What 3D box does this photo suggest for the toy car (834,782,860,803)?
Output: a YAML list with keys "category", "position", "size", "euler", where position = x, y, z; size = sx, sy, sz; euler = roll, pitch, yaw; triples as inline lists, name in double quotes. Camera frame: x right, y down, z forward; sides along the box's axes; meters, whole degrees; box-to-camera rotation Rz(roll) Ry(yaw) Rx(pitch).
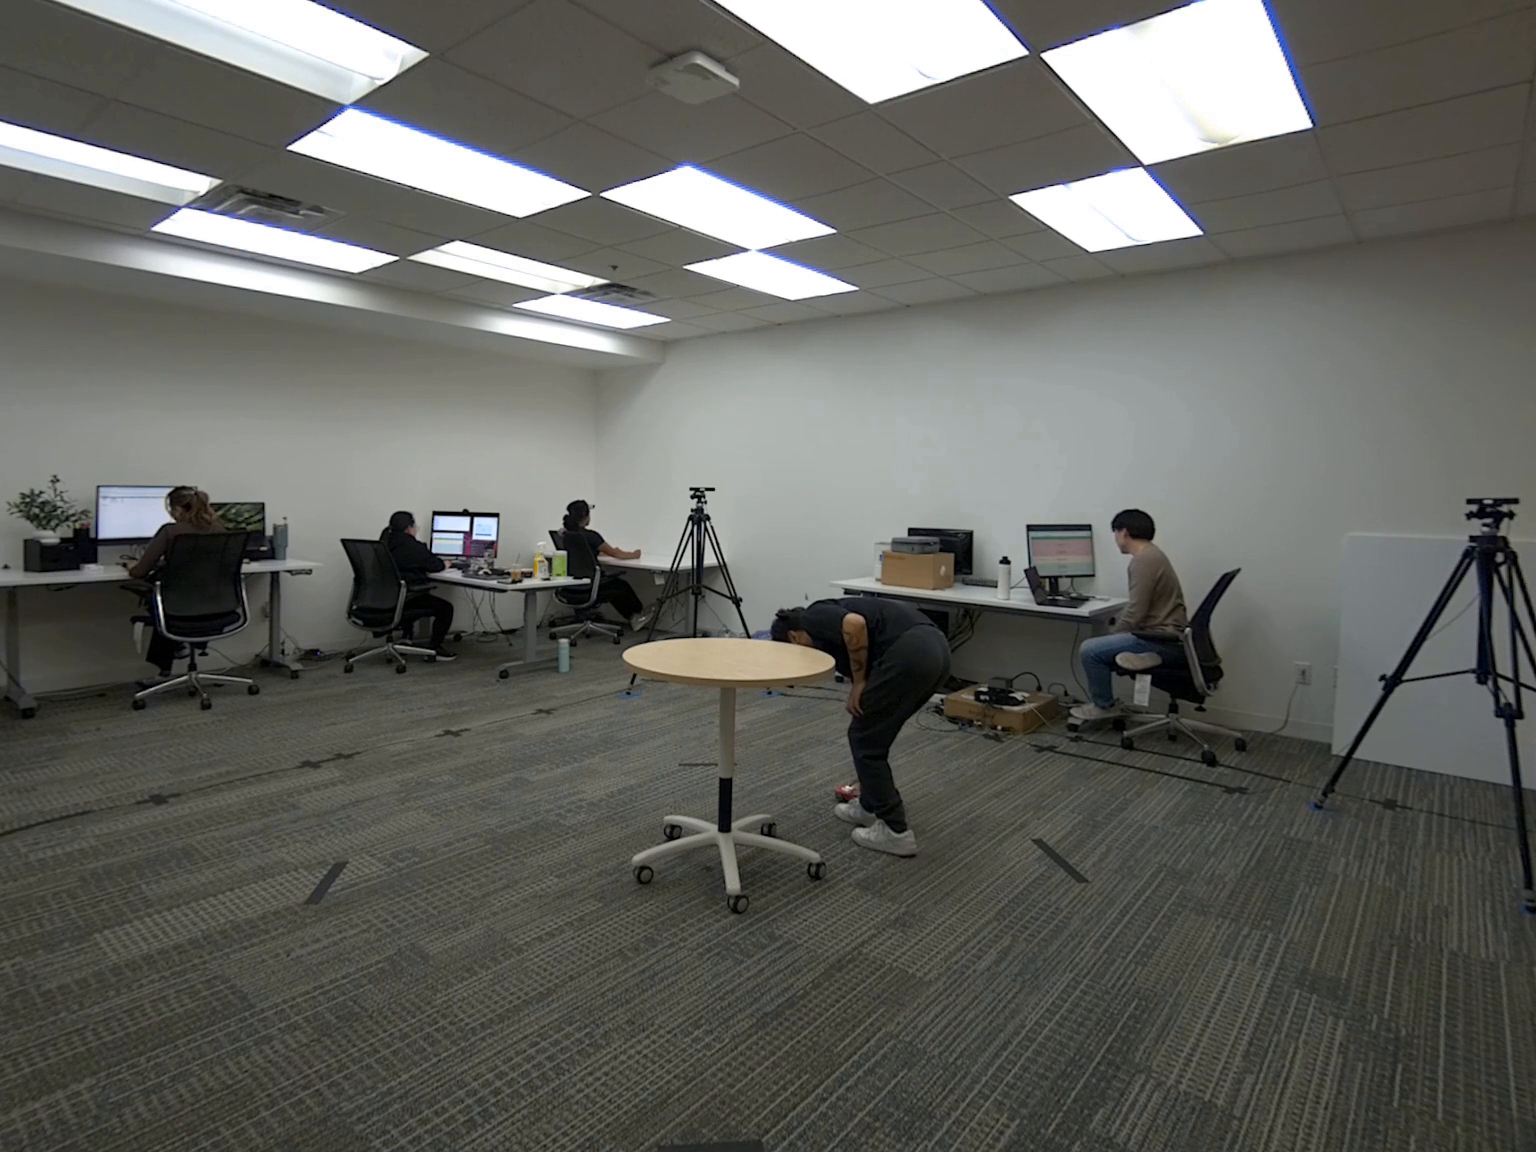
- category: "toy car"
  position: [0.422, 0.979, 3.806]
  size: [0.261, 0.083, 0.127]
  euler: [-7, -1, 31]
